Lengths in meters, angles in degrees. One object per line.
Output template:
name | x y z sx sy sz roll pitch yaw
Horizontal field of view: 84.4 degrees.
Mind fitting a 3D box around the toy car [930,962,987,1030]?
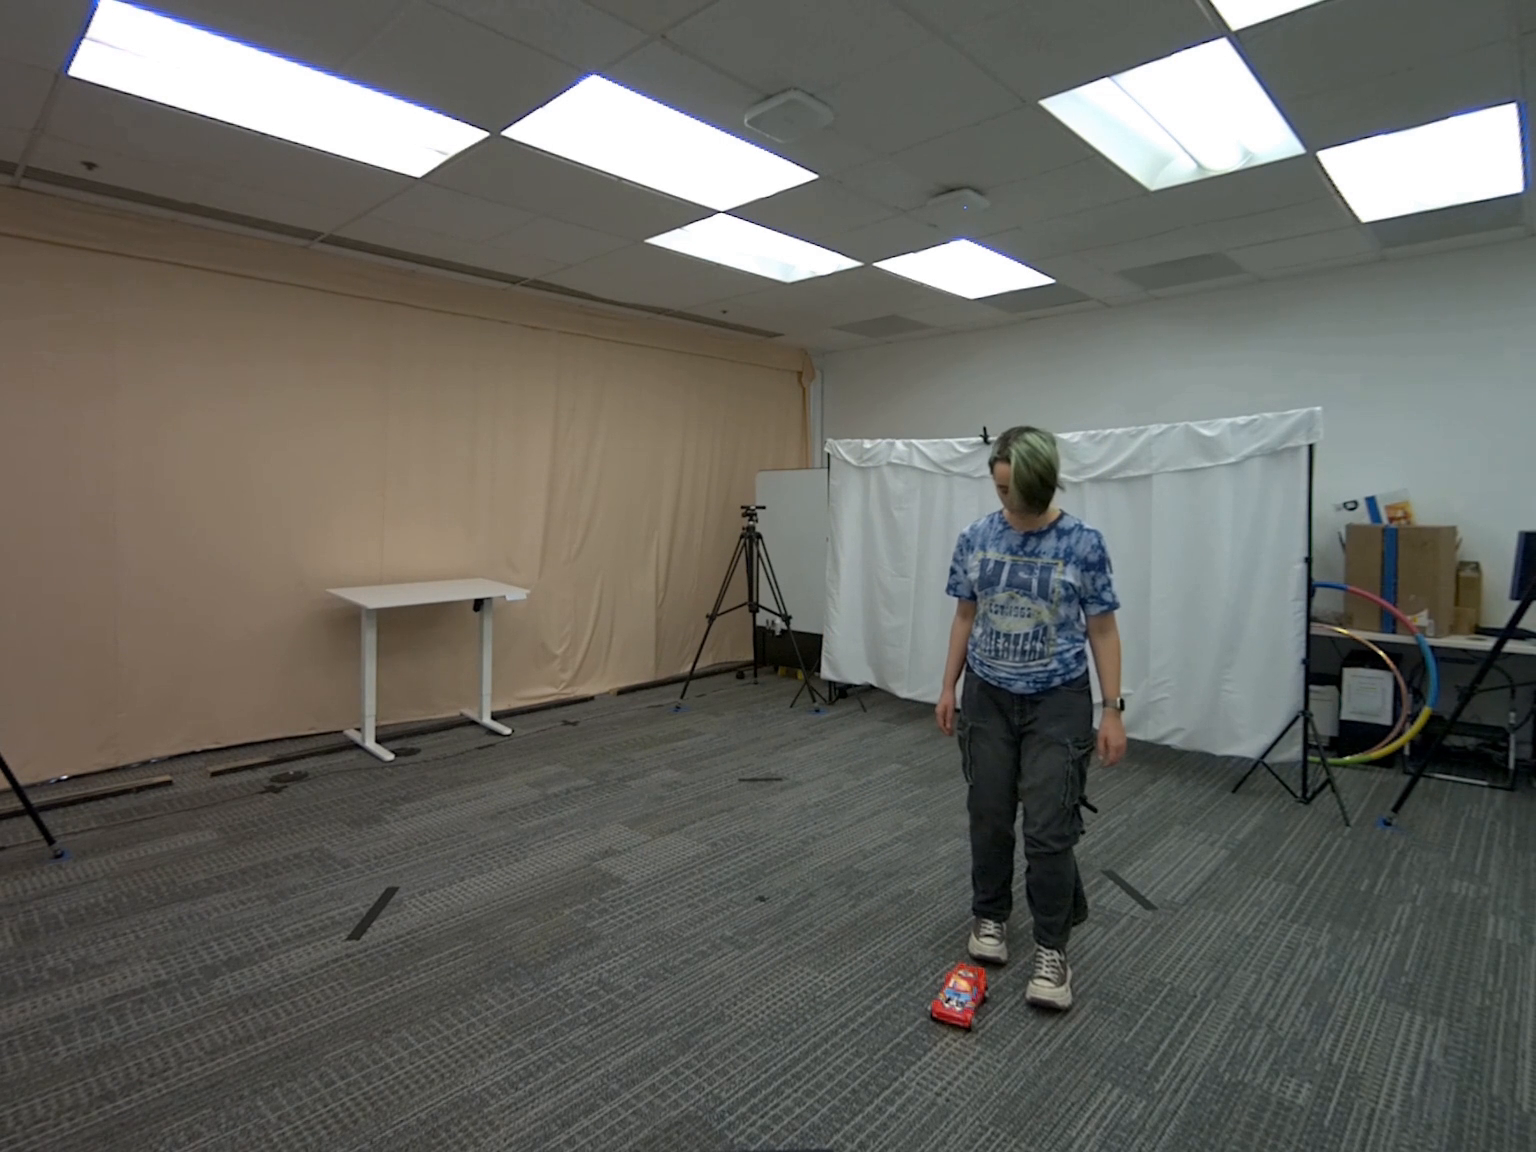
toy car | 0.545 1.168 2.338 0.134 0.082 0.250 0 15 29
